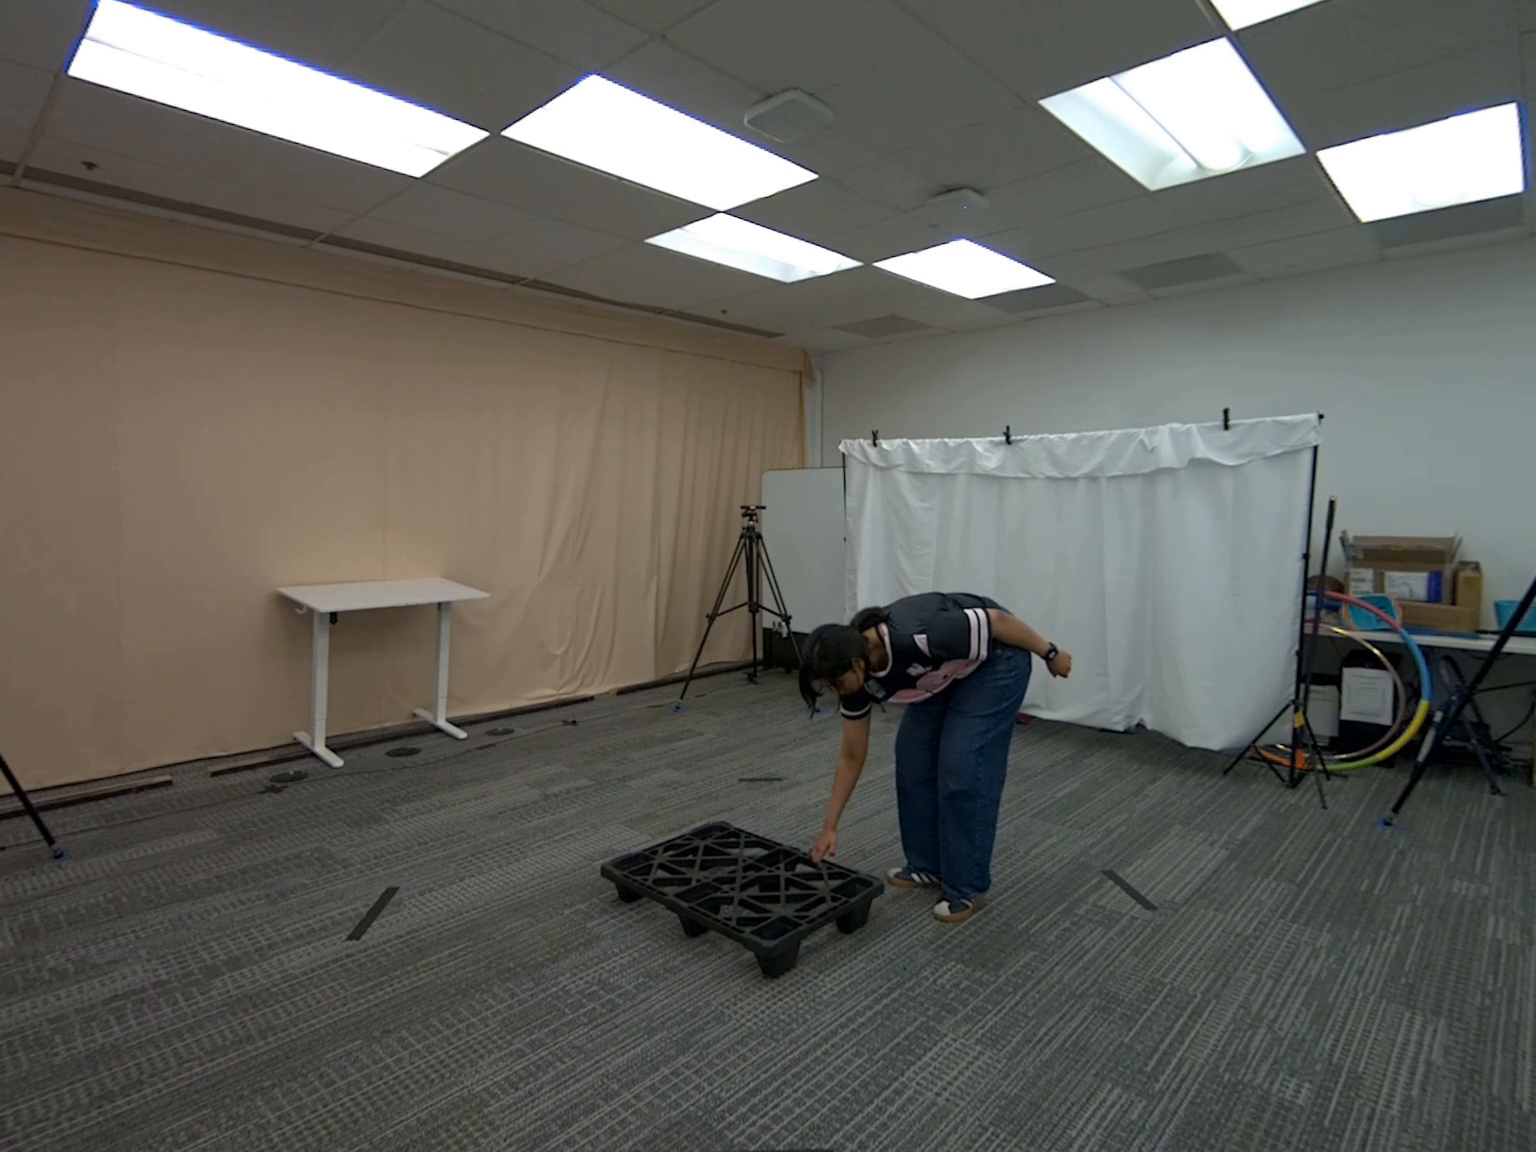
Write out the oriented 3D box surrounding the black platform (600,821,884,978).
[{"bbox_3d":[-0.098,1.086,2.884,0.832,0.143,0.587,4,7,44],"label":"black platform"}]
